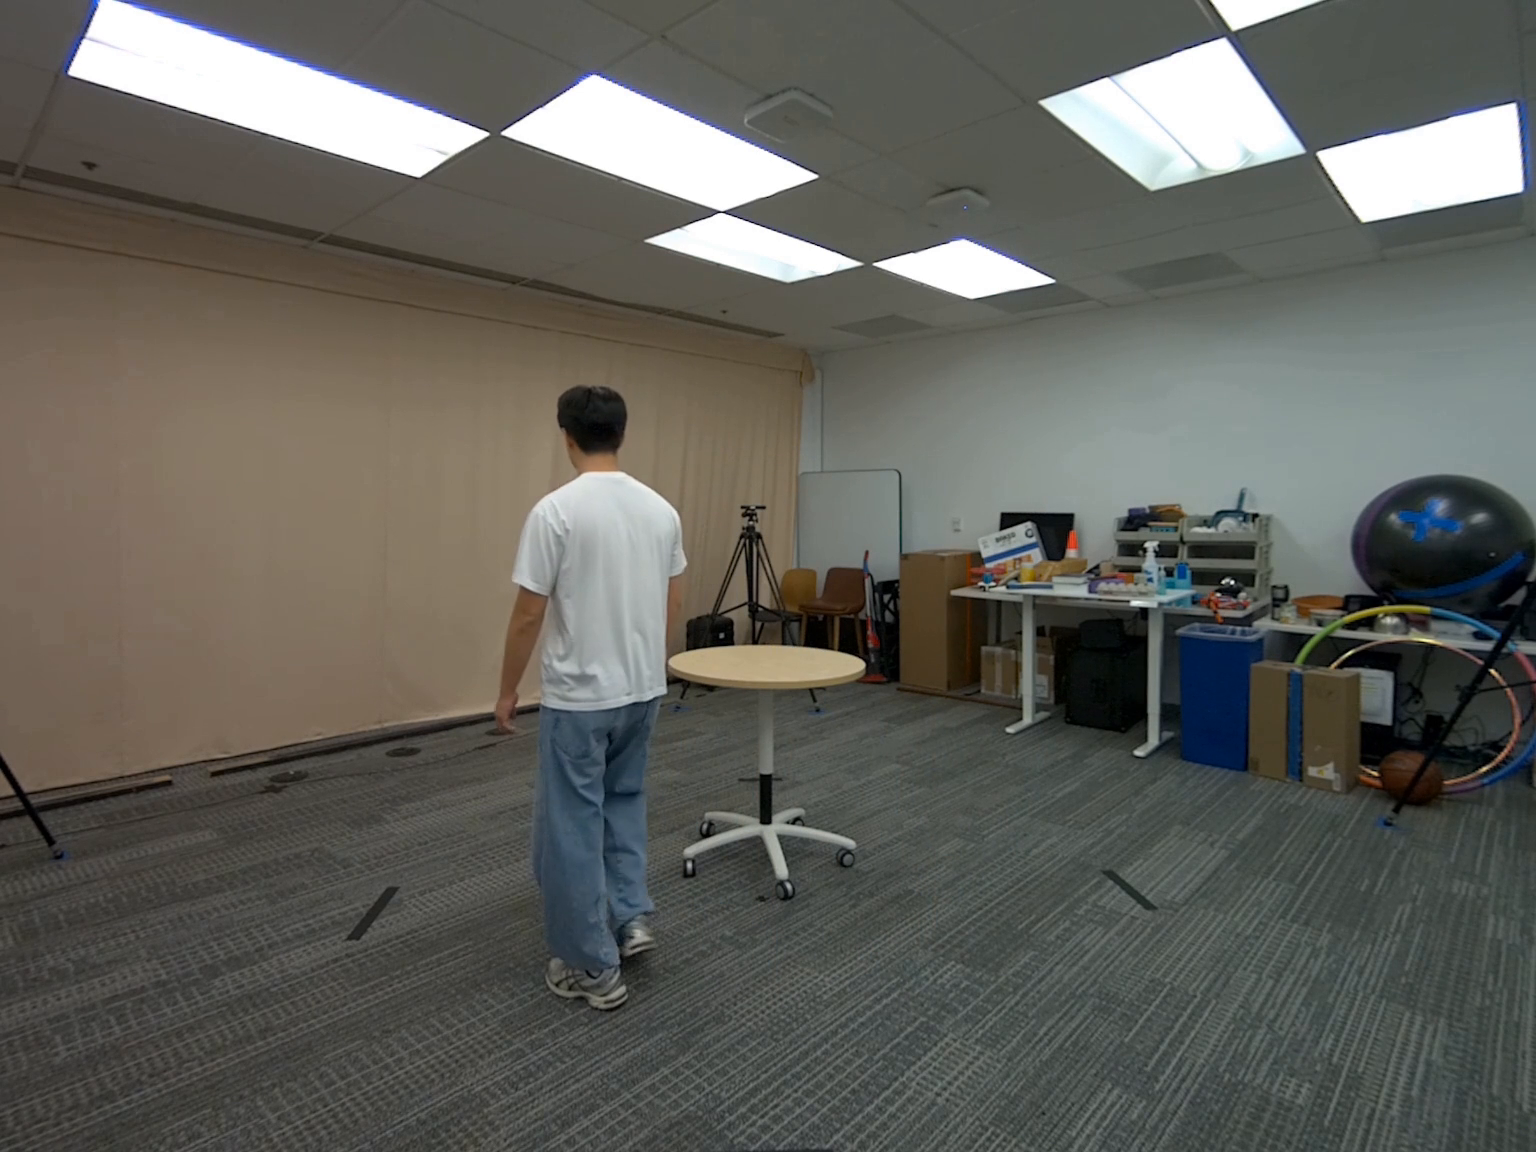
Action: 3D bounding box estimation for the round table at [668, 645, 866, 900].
[{"bbox_3d":[-0.002,0.728,3.307,0.763,0.792,0.766,0,4,-2],"label":"round table"}]
